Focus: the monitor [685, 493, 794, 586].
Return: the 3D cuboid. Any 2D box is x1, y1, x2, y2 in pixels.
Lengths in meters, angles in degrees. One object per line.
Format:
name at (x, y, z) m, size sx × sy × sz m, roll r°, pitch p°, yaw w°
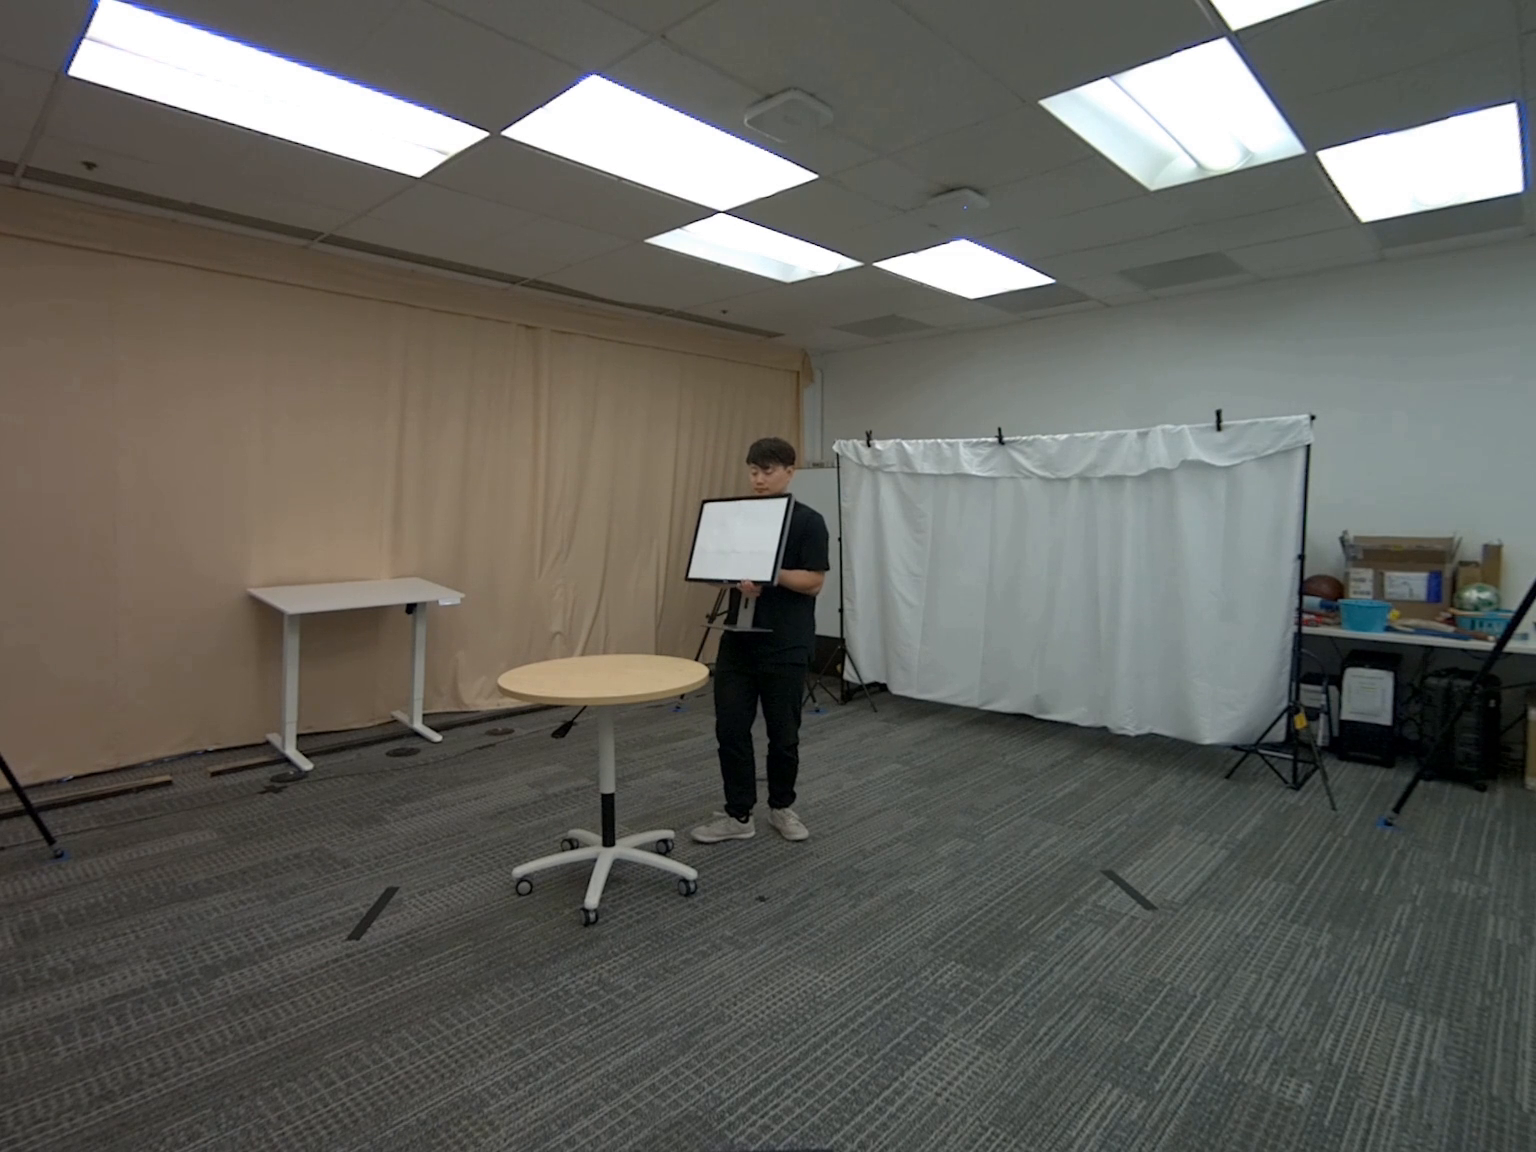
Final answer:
monitor at (-0.112, -0.053, 3.404) m, size 0.181 × 0.523 × 0.556 m, roll 6°, pitch -3°, yaw -42°
